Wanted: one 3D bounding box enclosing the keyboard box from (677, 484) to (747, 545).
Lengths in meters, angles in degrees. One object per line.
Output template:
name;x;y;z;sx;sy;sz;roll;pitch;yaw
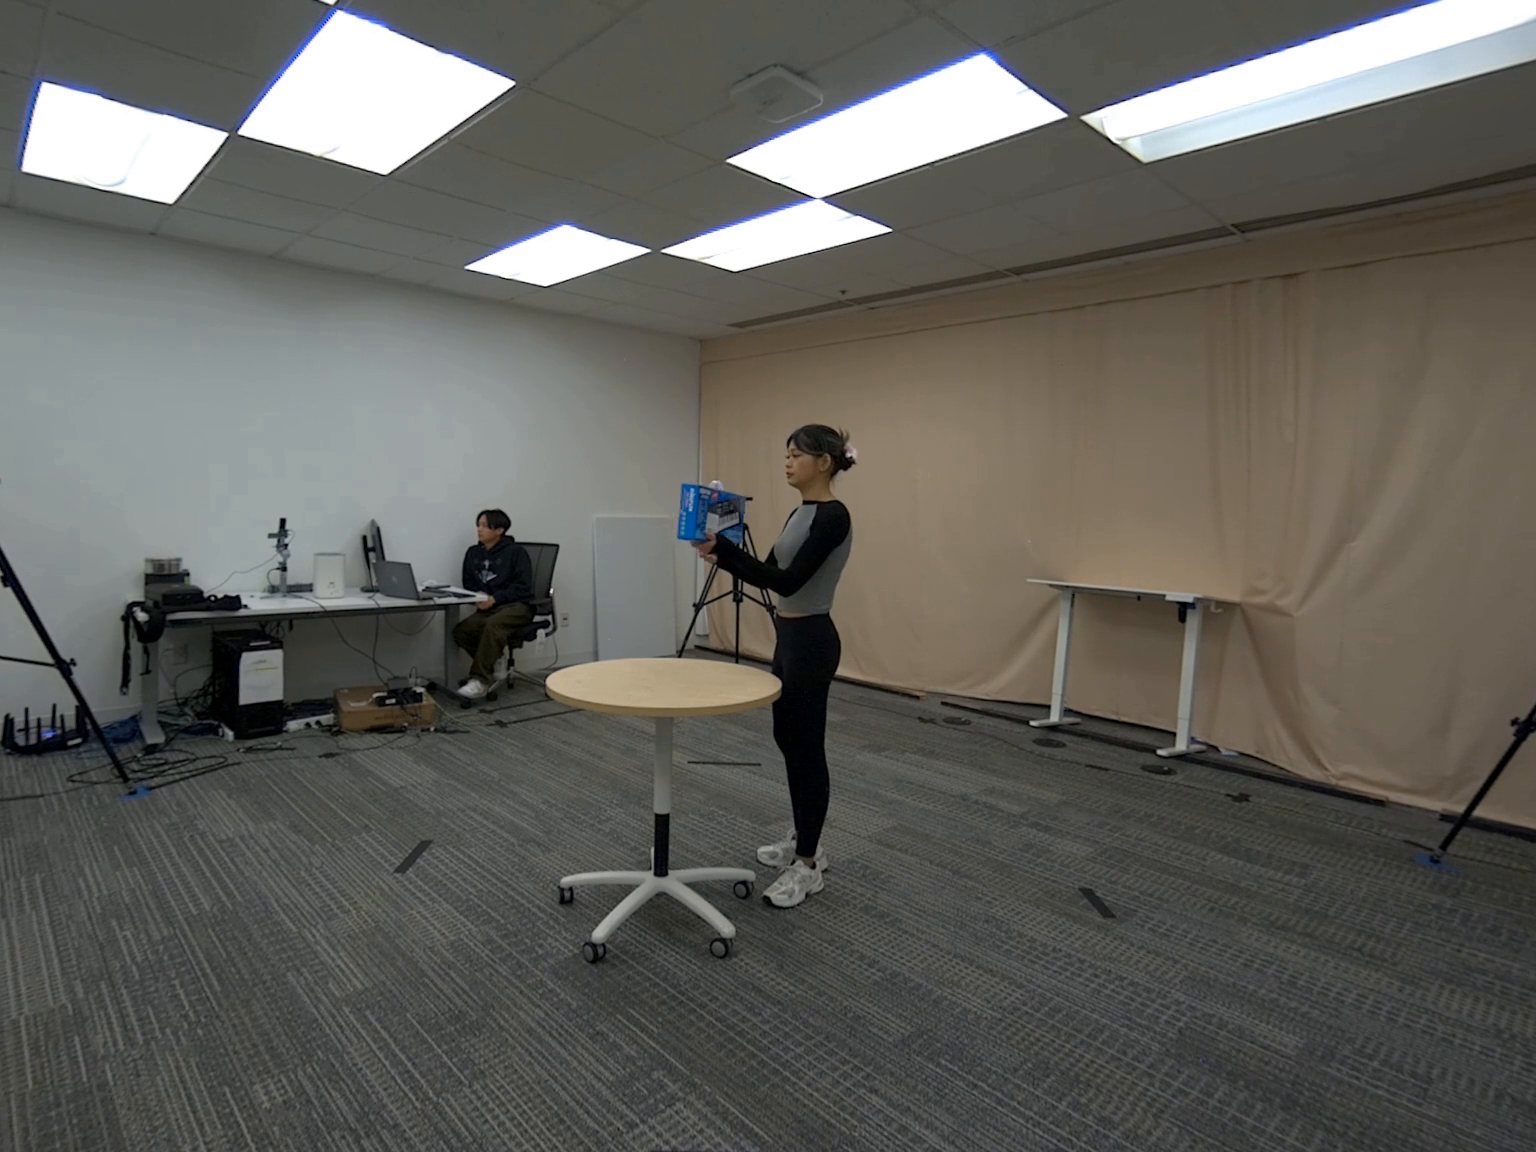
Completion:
keyboard box;-0.181;-0.195;2.803;0.060;0.176;0.430;5;1;18
